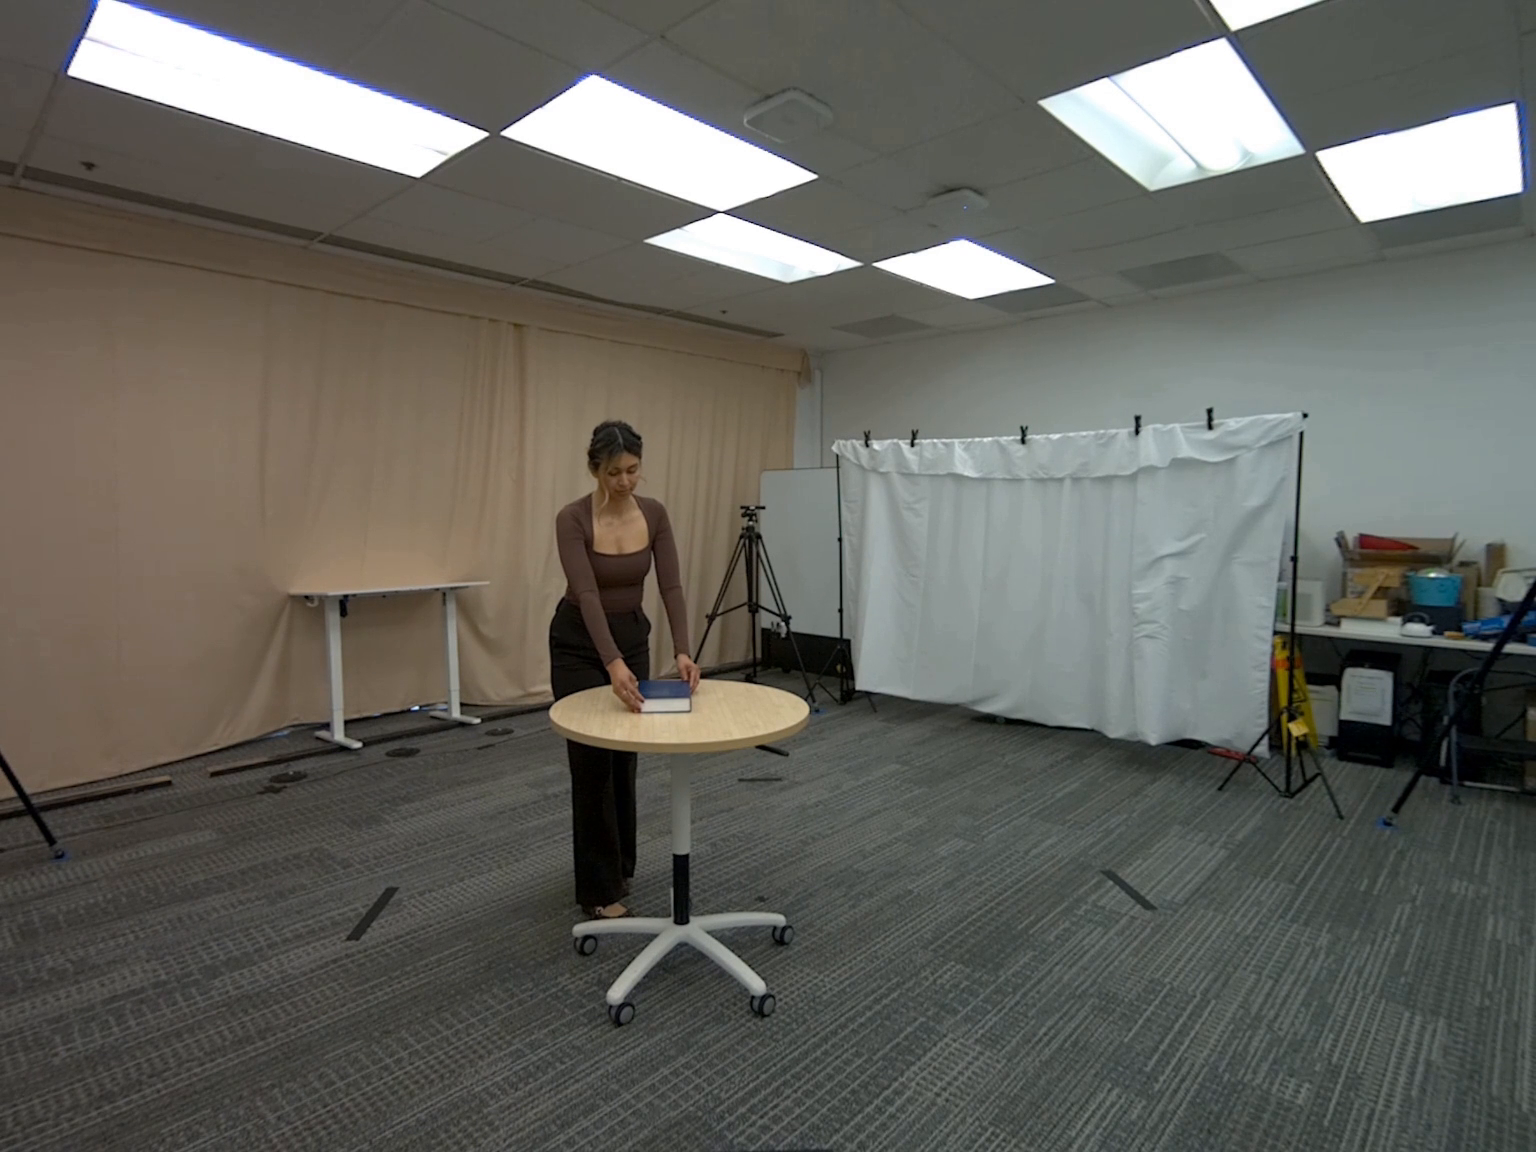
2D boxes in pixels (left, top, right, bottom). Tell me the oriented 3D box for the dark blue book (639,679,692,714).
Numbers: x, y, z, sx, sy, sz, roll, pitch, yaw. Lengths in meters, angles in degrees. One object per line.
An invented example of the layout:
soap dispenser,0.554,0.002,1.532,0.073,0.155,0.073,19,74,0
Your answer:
dark blue book,-0.311,0.366,2.543,0.163,0.045,0.247,-1,5,-5
